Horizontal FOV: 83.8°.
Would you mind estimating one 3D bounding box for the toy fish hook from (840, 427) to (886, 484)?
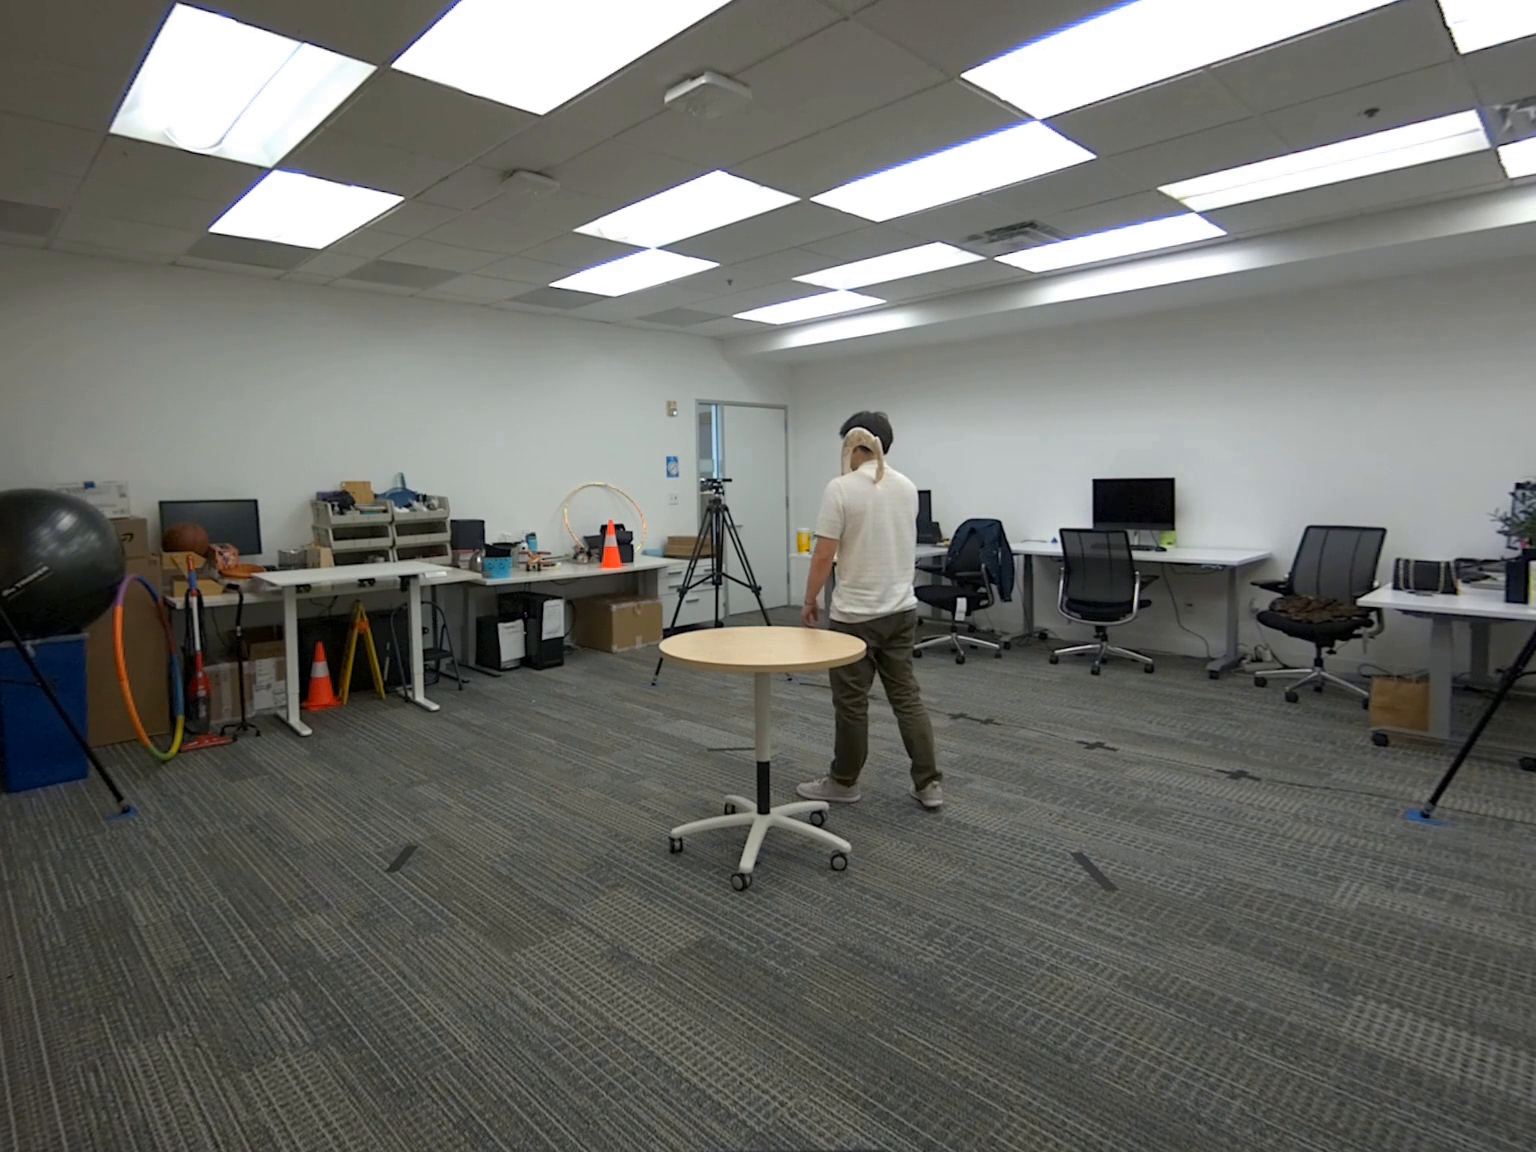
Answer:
[{"bbox_3d":[0.381,-0.386,3.618,0.047,0.495,0.233,-19,45,-31],"label":"toy fish hook"}]
